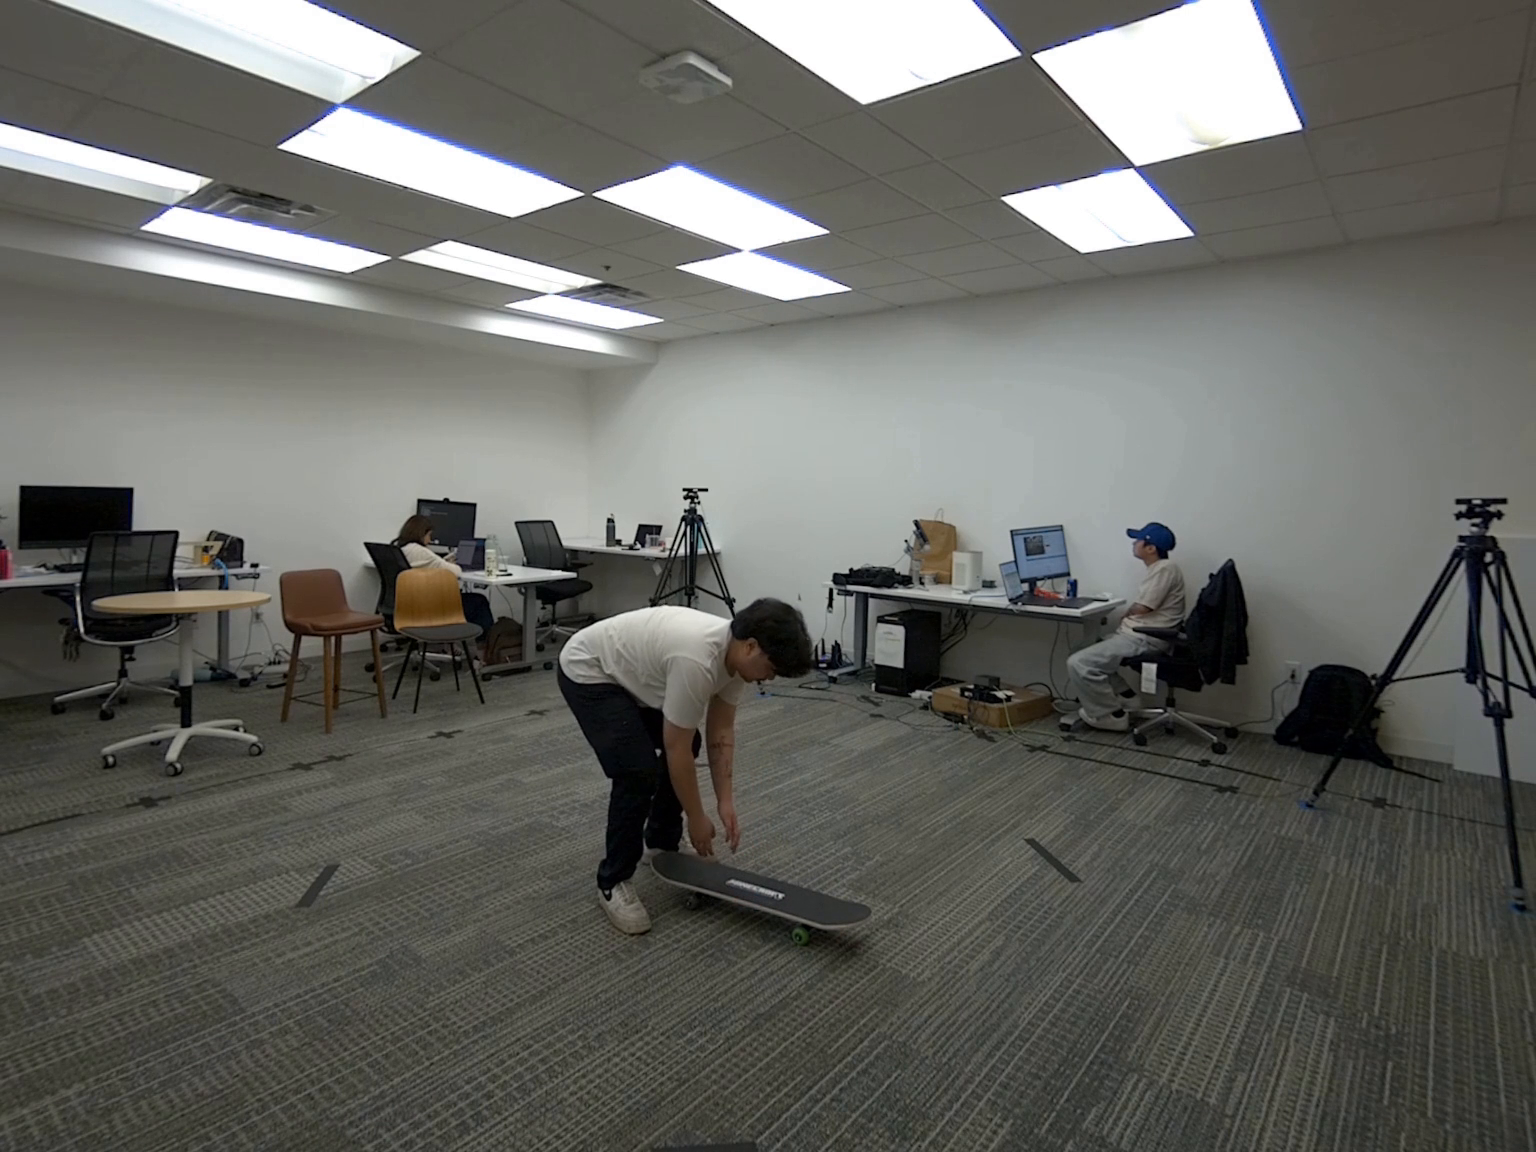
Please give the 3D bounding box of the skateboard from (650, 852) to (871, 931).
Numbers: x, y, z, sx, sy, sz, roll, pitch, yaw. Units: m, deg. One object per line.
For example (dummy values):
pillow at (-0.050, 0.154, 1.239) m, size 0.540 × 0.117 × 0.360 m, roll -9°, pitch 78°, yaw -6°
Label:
skateboard at (-0.046, 1.051, 2.769) m, size 0.808 × 0.110 × 0.189 m, roll 4°, pitch 6°, yaw 29°
